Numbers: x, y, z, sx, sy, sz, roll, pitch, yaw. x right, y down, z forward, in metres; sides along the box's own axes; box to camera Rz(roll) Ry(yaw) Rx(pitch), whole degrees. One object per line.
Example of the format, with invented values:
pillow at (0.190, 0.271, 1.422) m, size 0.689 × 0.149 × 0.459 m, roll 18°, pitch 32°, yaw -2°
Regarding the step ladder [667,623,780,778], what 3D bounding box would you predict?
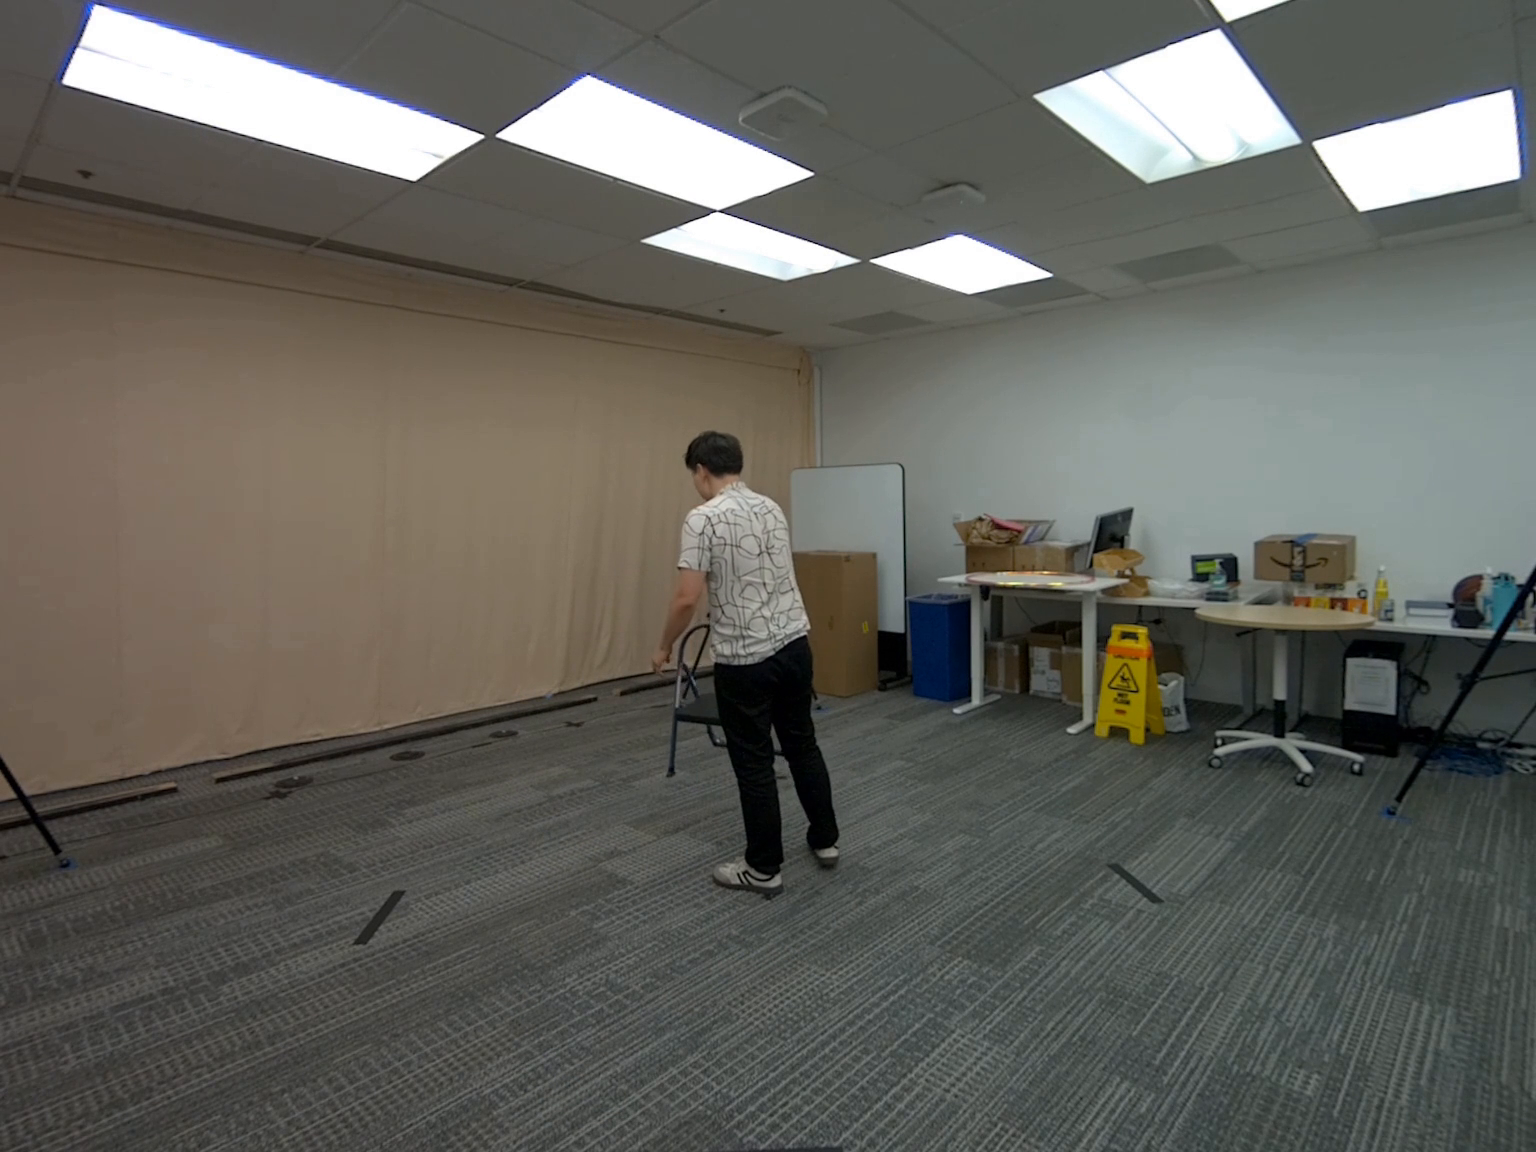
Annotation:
step ladder at (-0.209, 0.519, 3.544) m, size 0.444 × 0.601 × 0.341 m, roll -1°, pitch 13°, yaw 36°
